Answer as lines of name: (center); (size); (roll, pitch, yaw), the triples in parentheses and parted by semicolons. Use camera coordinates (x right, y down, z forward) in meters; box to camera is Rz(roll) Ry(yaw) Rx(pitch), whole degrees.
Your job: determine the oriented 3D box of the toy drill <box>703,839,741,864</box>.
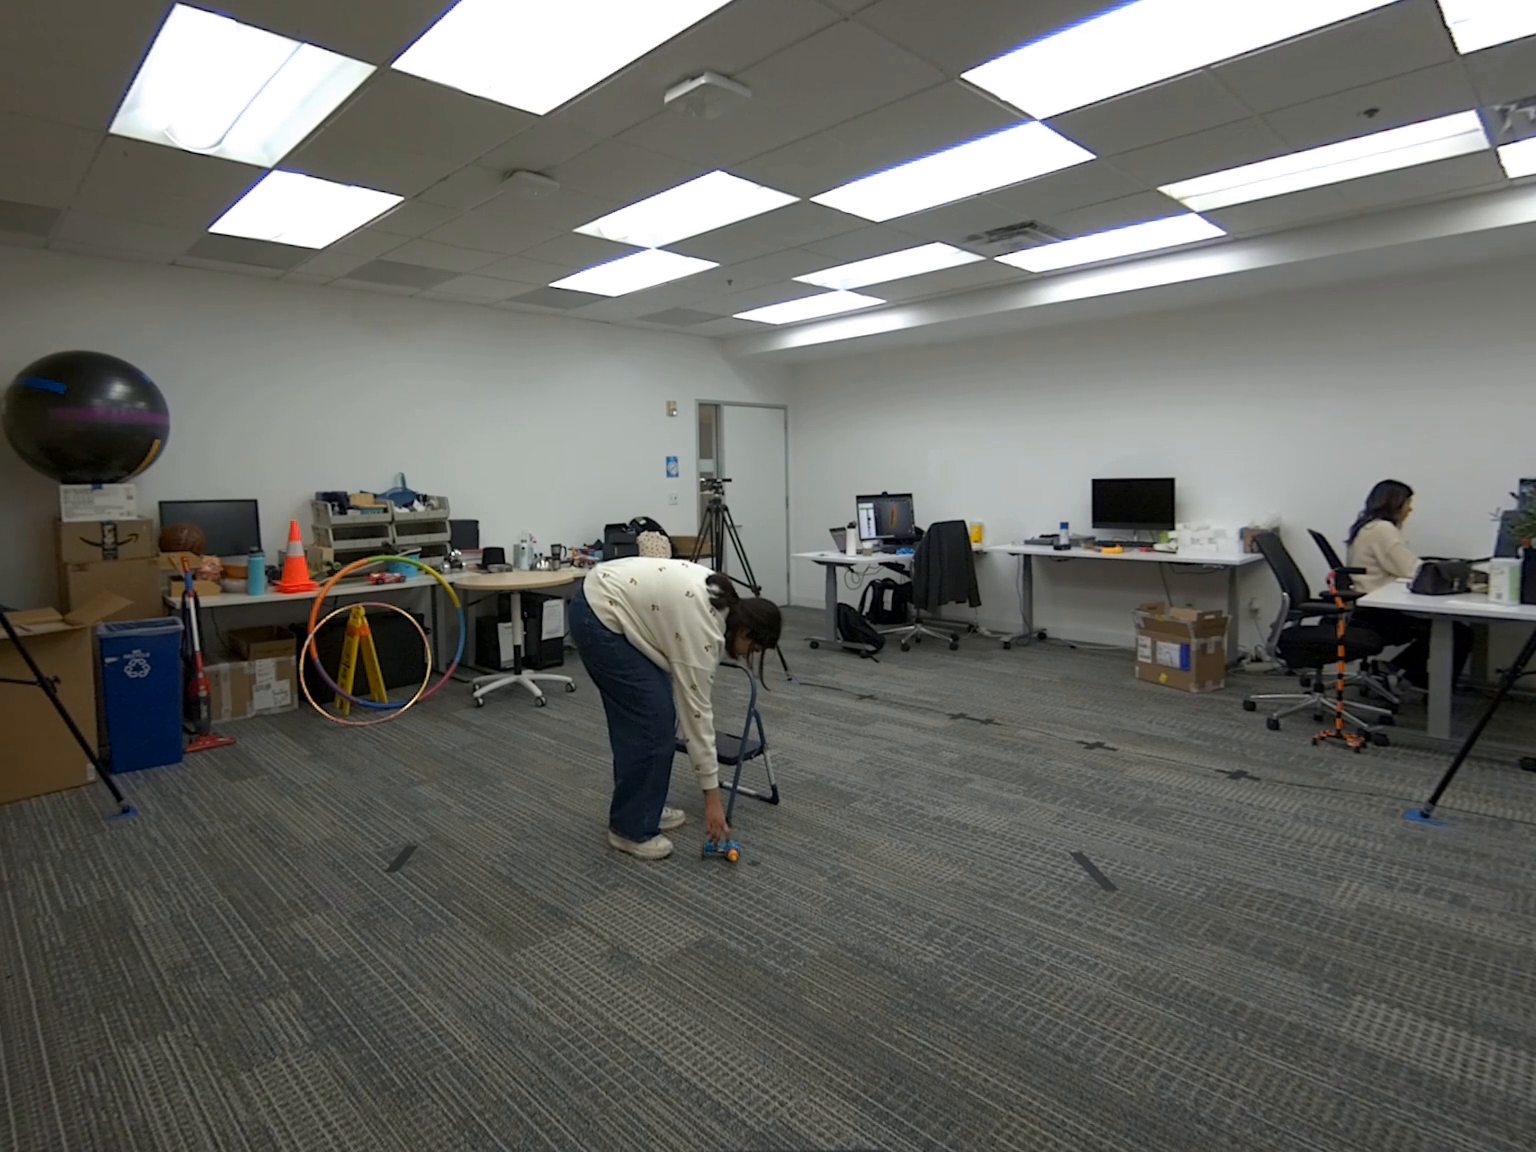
toy drill: (-0.186, 1.008, 3.125); (0.146, 0.061, 0.170); (5, 4, 0)
